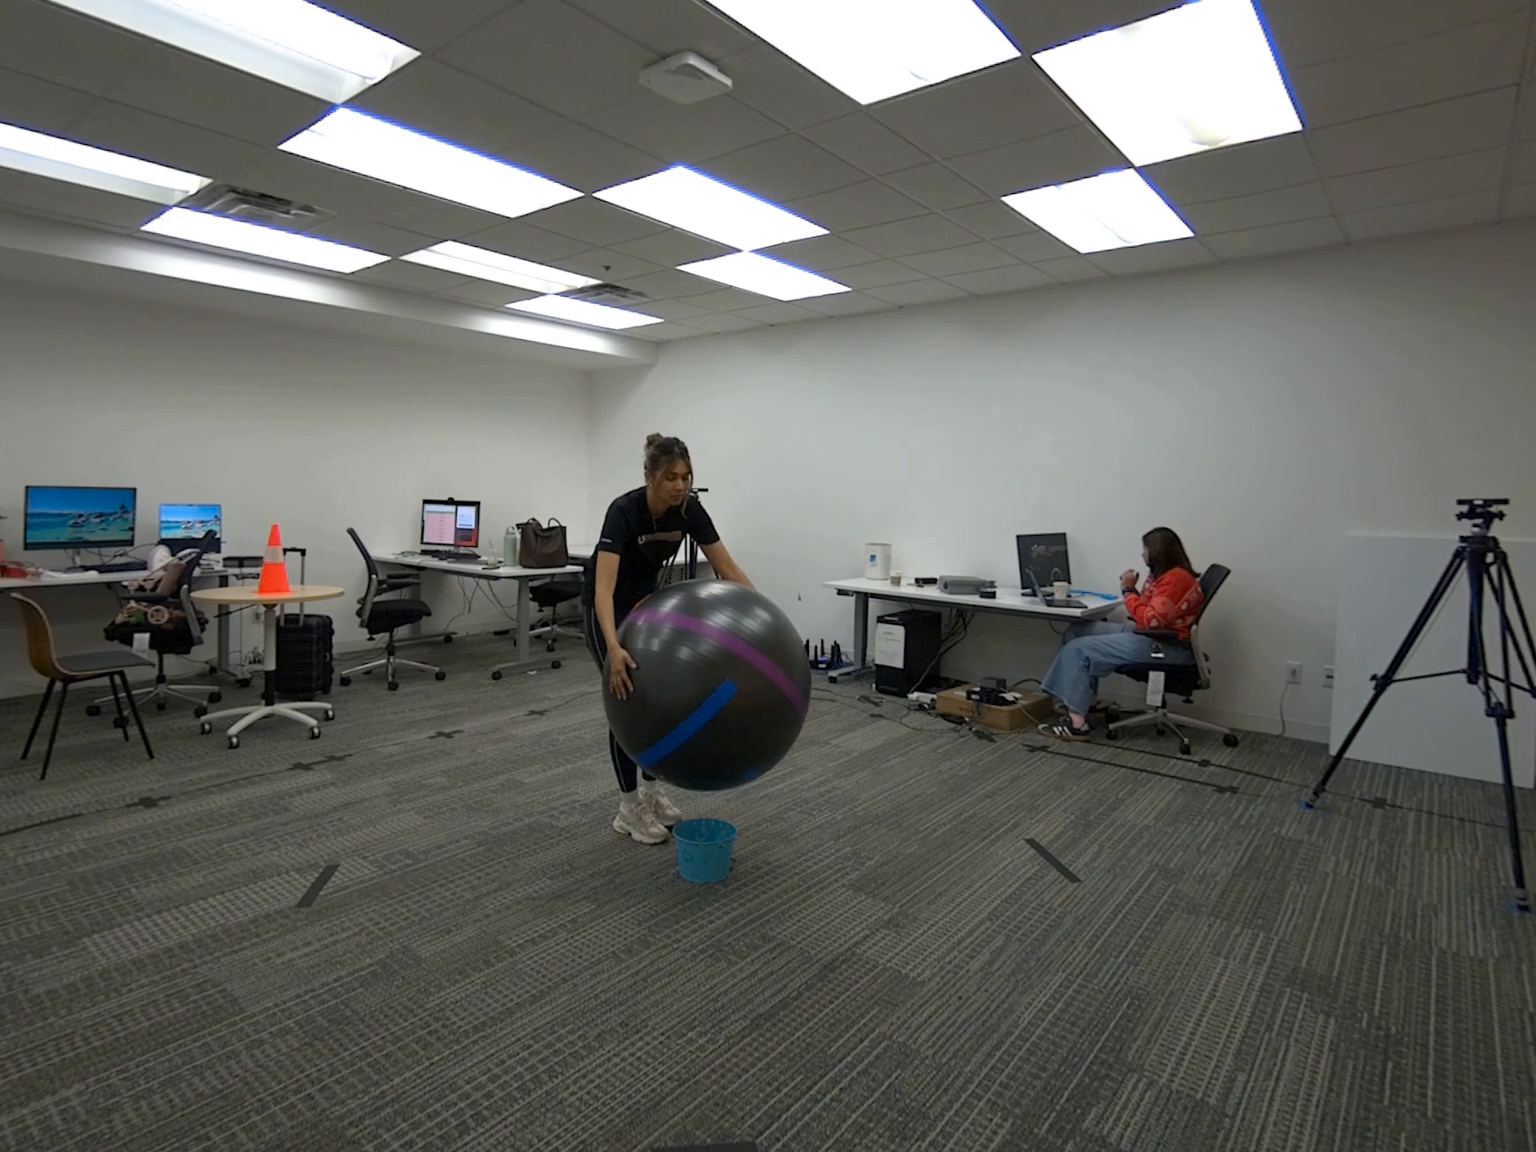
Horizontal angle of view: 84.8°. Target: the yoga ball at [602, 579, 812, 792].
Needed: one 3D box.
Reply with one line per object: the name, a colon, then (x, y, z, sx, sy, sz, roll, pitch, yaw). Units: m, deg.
yoga ball: (-0.234, 0.384, 3.099, 0.757, 0.756, 0.761, 1, 4, -2)
